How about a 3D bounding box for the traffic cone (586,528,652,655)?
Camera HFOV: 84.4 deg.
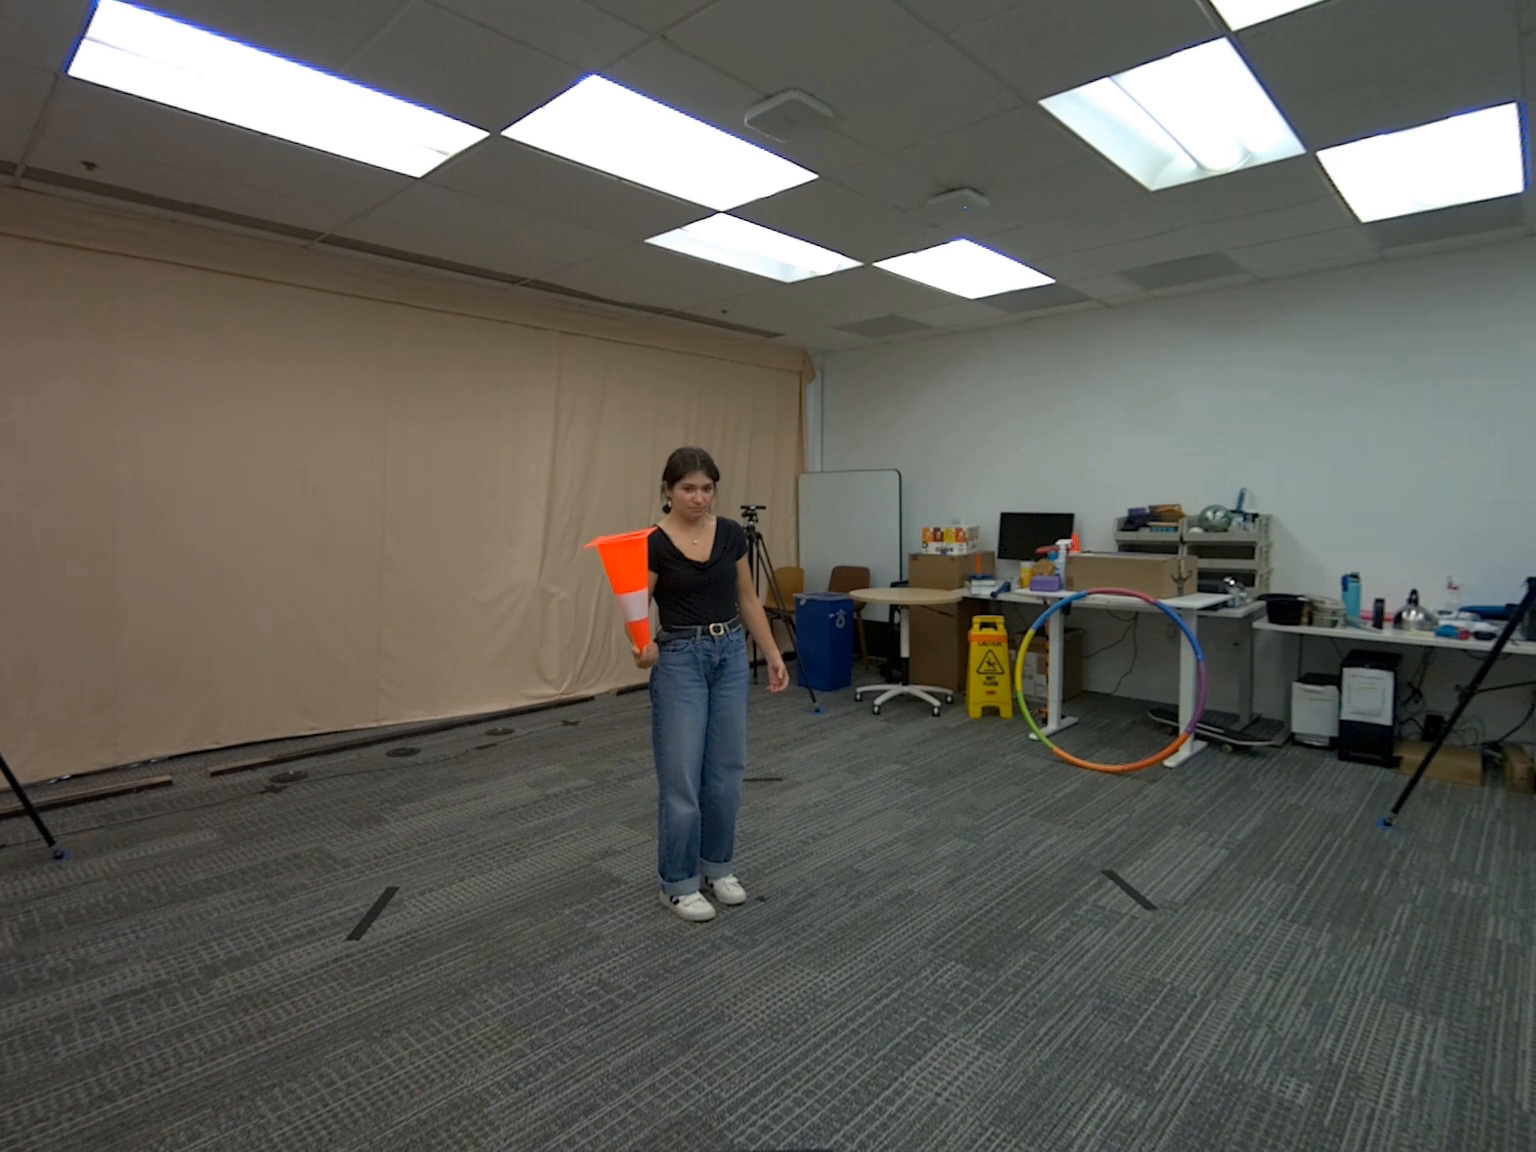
[{"bbox_3d":[-0.406,0.064,2.586,0.205,0.381,0.204,-10,8,9],"label":"traffic cone"}]
